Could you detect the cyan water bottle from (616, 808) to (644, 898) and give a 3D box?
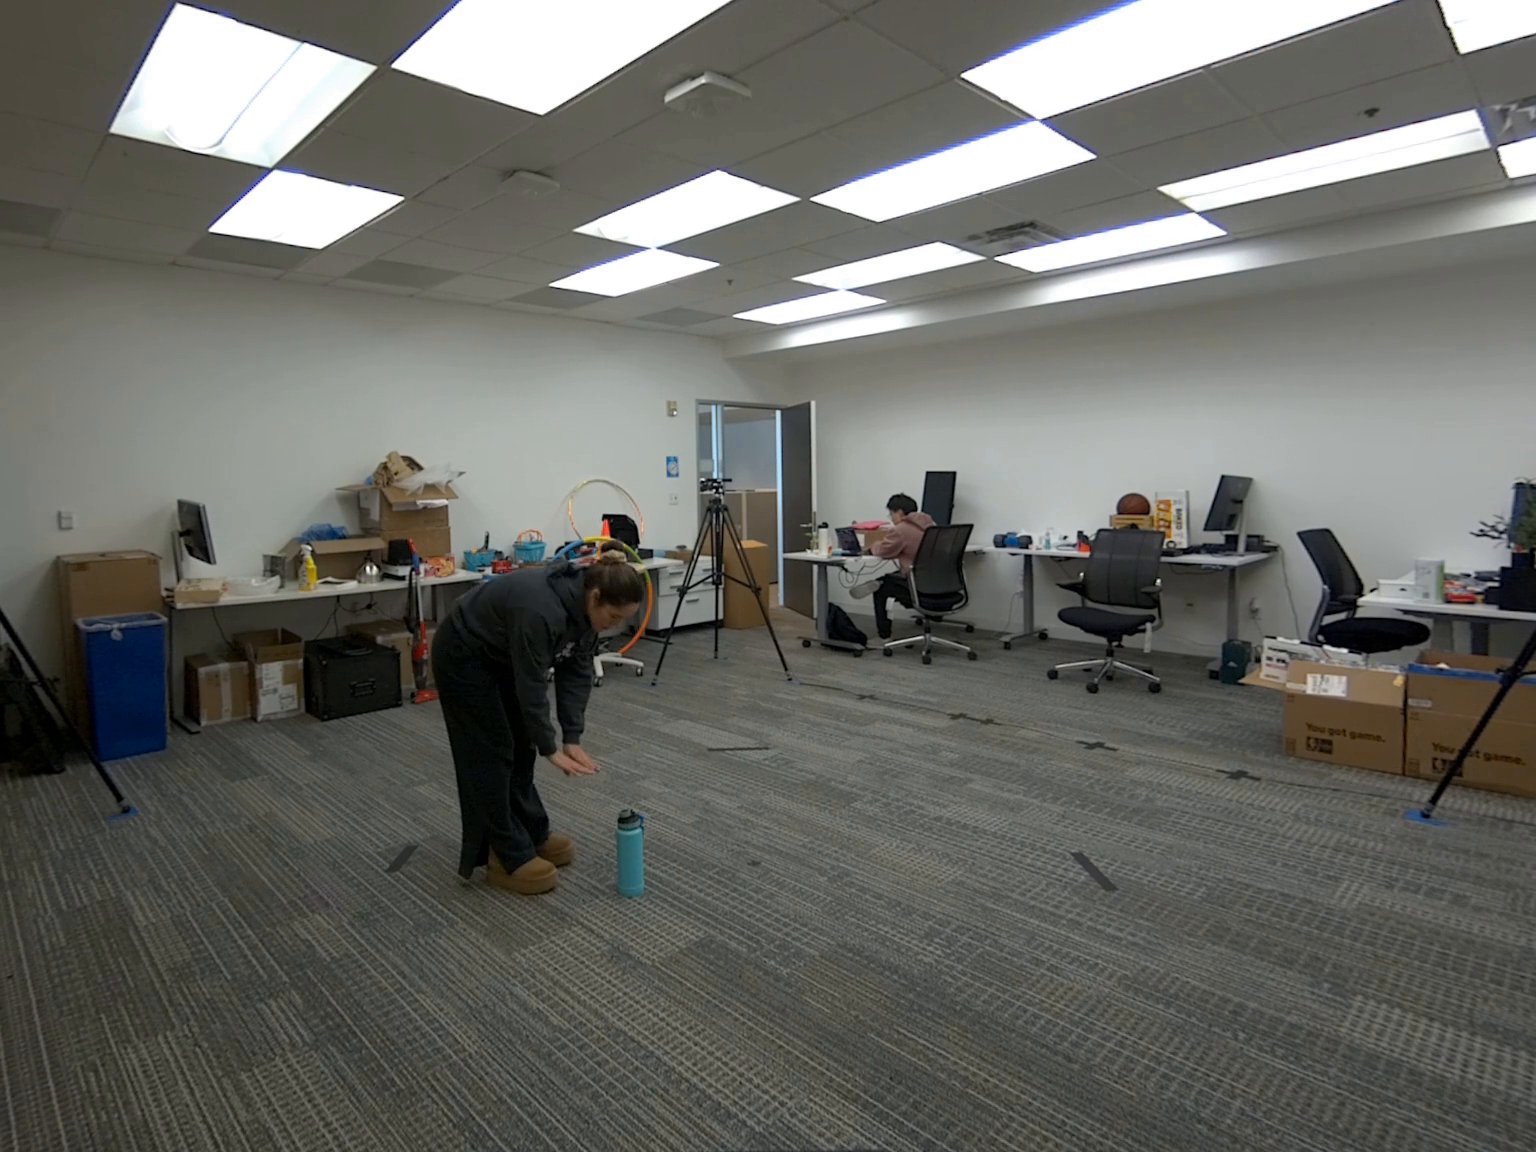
[{"bbox_3d":[-0.470,0.932,2.885,0.092,0.282,0.093,0,3,-2],"label":"cyan water bottle"}]
